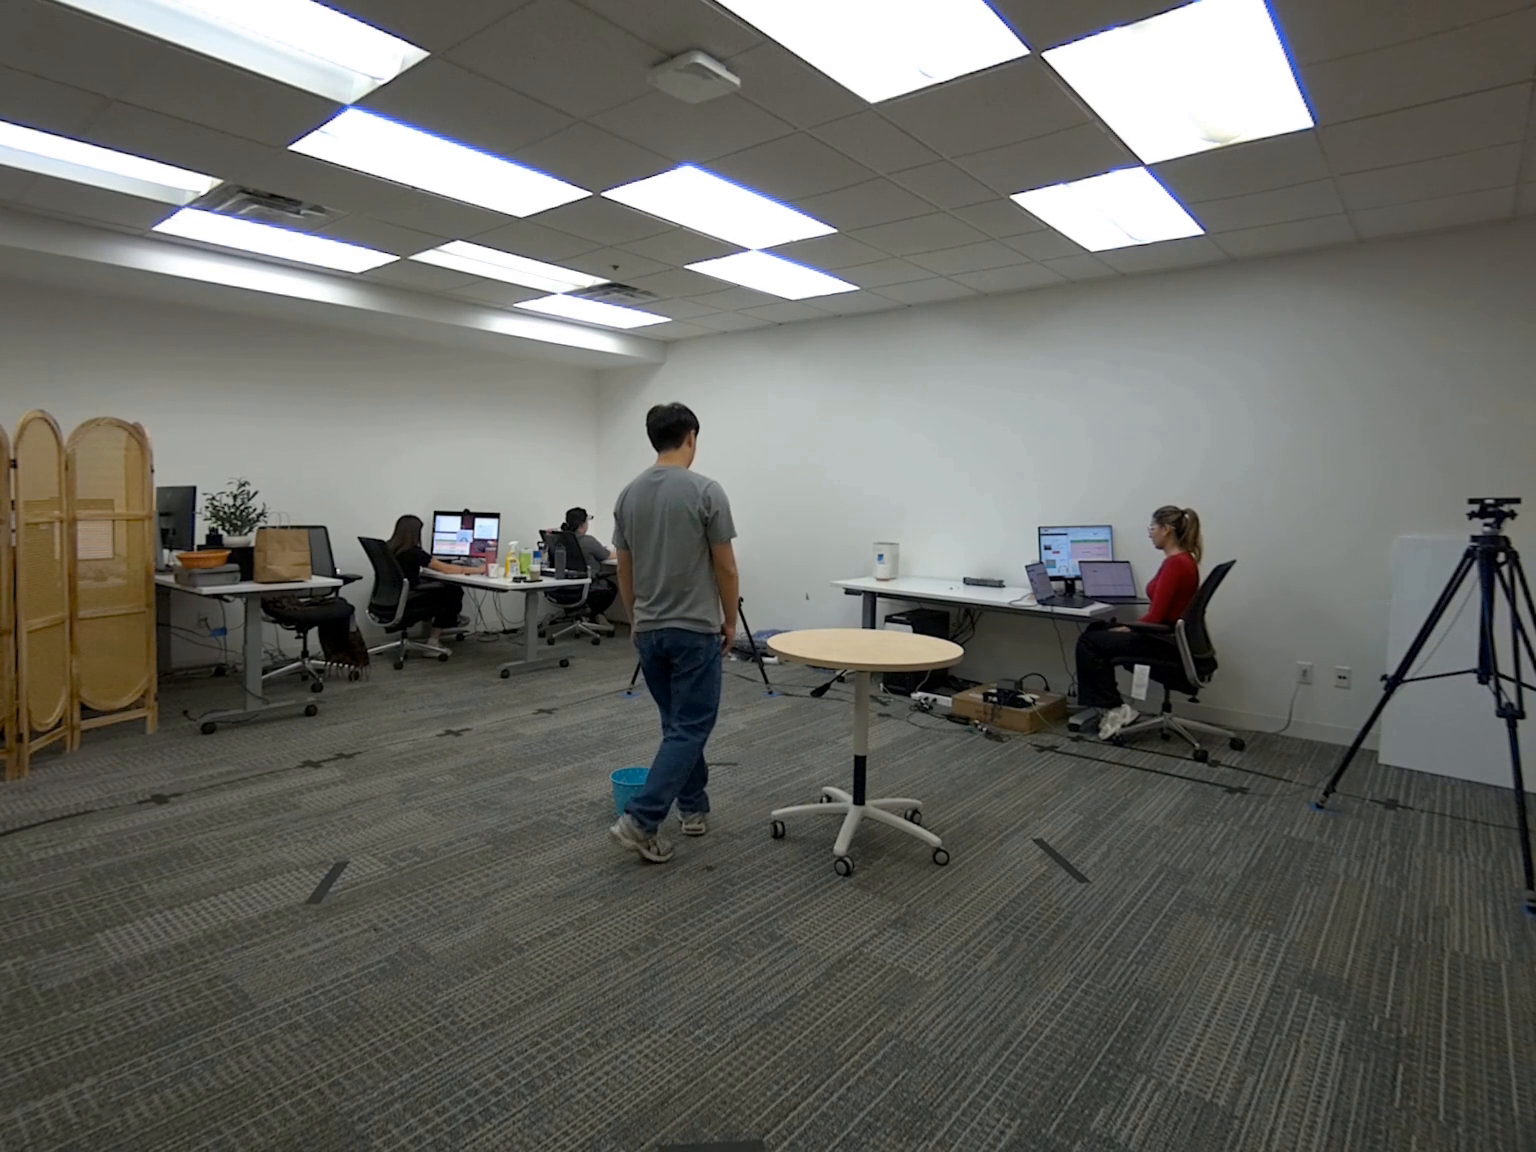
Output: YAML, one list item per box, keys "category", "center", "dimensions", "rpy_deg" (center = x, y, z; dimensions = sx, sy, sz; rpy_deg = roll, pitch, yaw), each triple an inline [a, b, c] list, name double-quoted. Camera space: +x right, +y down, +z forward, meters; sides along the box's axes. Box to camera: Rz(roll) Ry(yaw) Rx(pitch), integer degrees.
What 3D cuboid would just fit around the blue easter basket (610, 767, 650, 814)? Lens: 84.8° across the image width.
- category: "blue easter basket"
  center: [-0.569, 0.927, 3.664]
  dimensions: [0.243, 0.155, 0.245]
  rpy_deg: [1, 5, -2]
